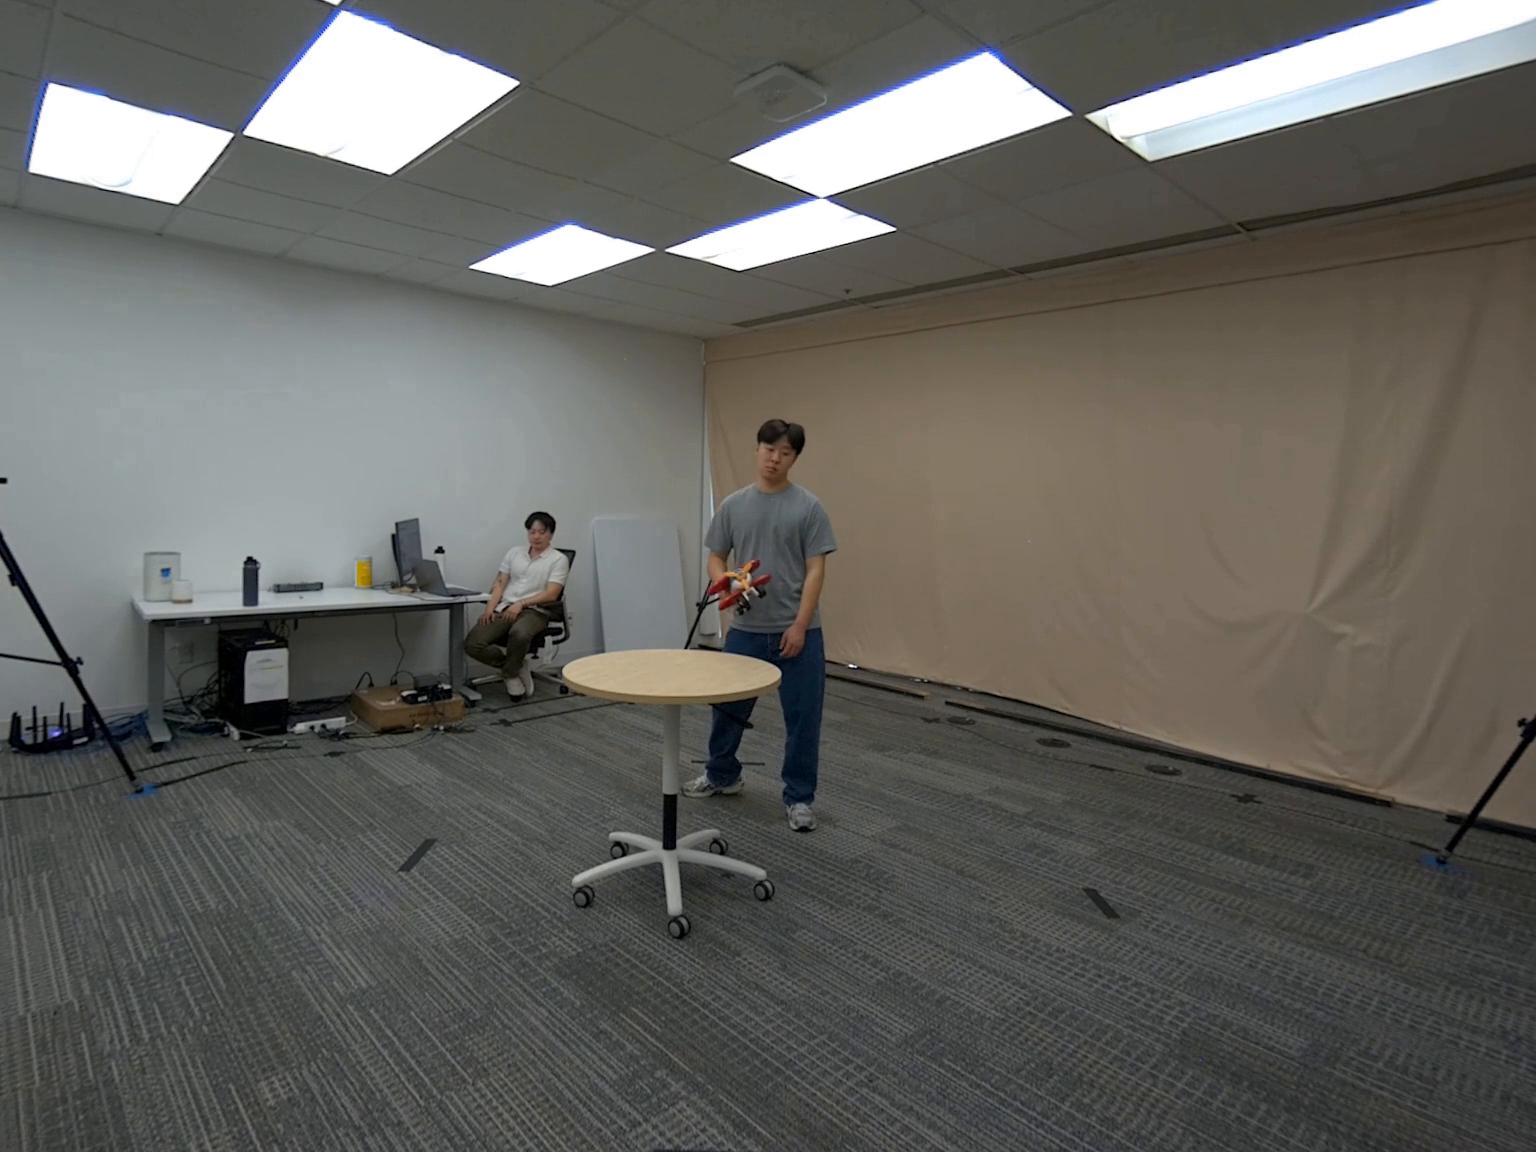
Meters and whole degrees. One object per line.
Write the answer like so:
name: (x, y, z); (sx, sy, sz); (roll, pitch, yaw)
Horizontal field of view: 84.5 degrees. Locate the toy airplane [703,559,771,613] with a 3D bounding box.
toy airplane: (-0.133, 0.069, 3.400); (0.248, 0.158, 0.260); (-25, -10, -48)
